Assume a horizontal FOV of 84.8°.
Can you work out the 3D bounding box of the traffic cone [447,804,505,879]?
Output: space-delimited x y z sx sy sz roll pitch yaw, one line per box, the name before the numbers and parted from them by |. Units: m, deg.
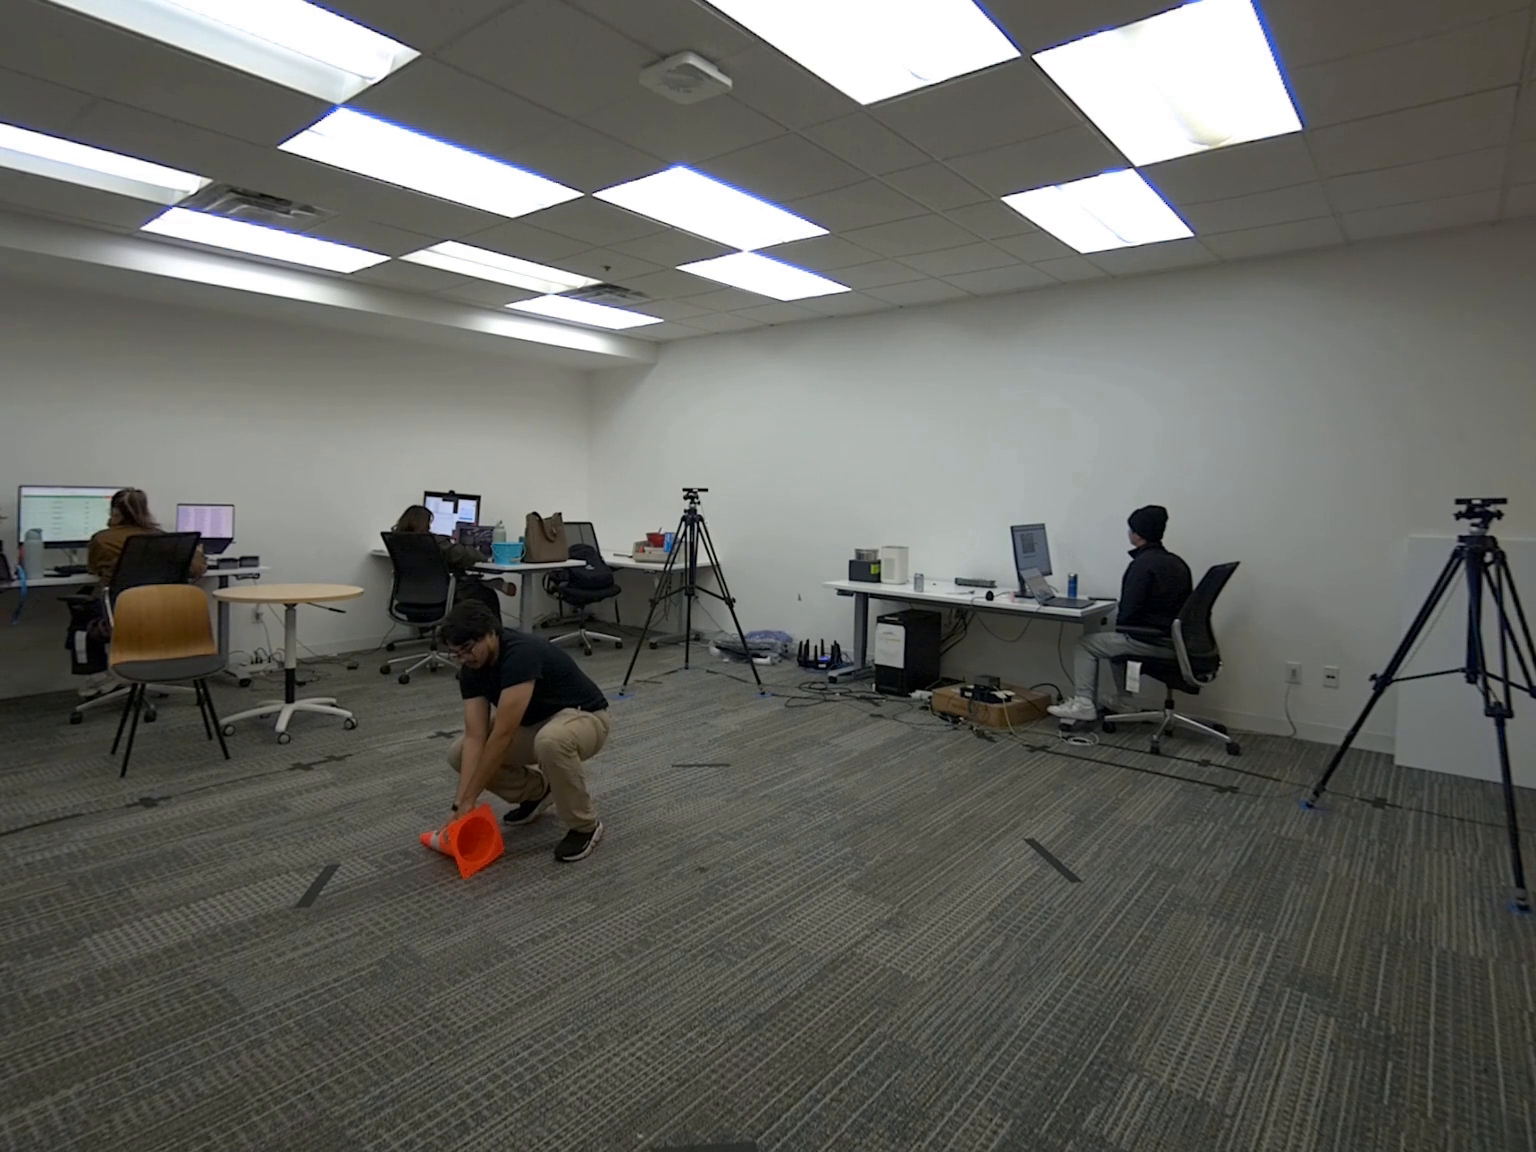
traffic cone | -1.223 0.984 3.188 0.393 0.204 0.199 -12 6 36
